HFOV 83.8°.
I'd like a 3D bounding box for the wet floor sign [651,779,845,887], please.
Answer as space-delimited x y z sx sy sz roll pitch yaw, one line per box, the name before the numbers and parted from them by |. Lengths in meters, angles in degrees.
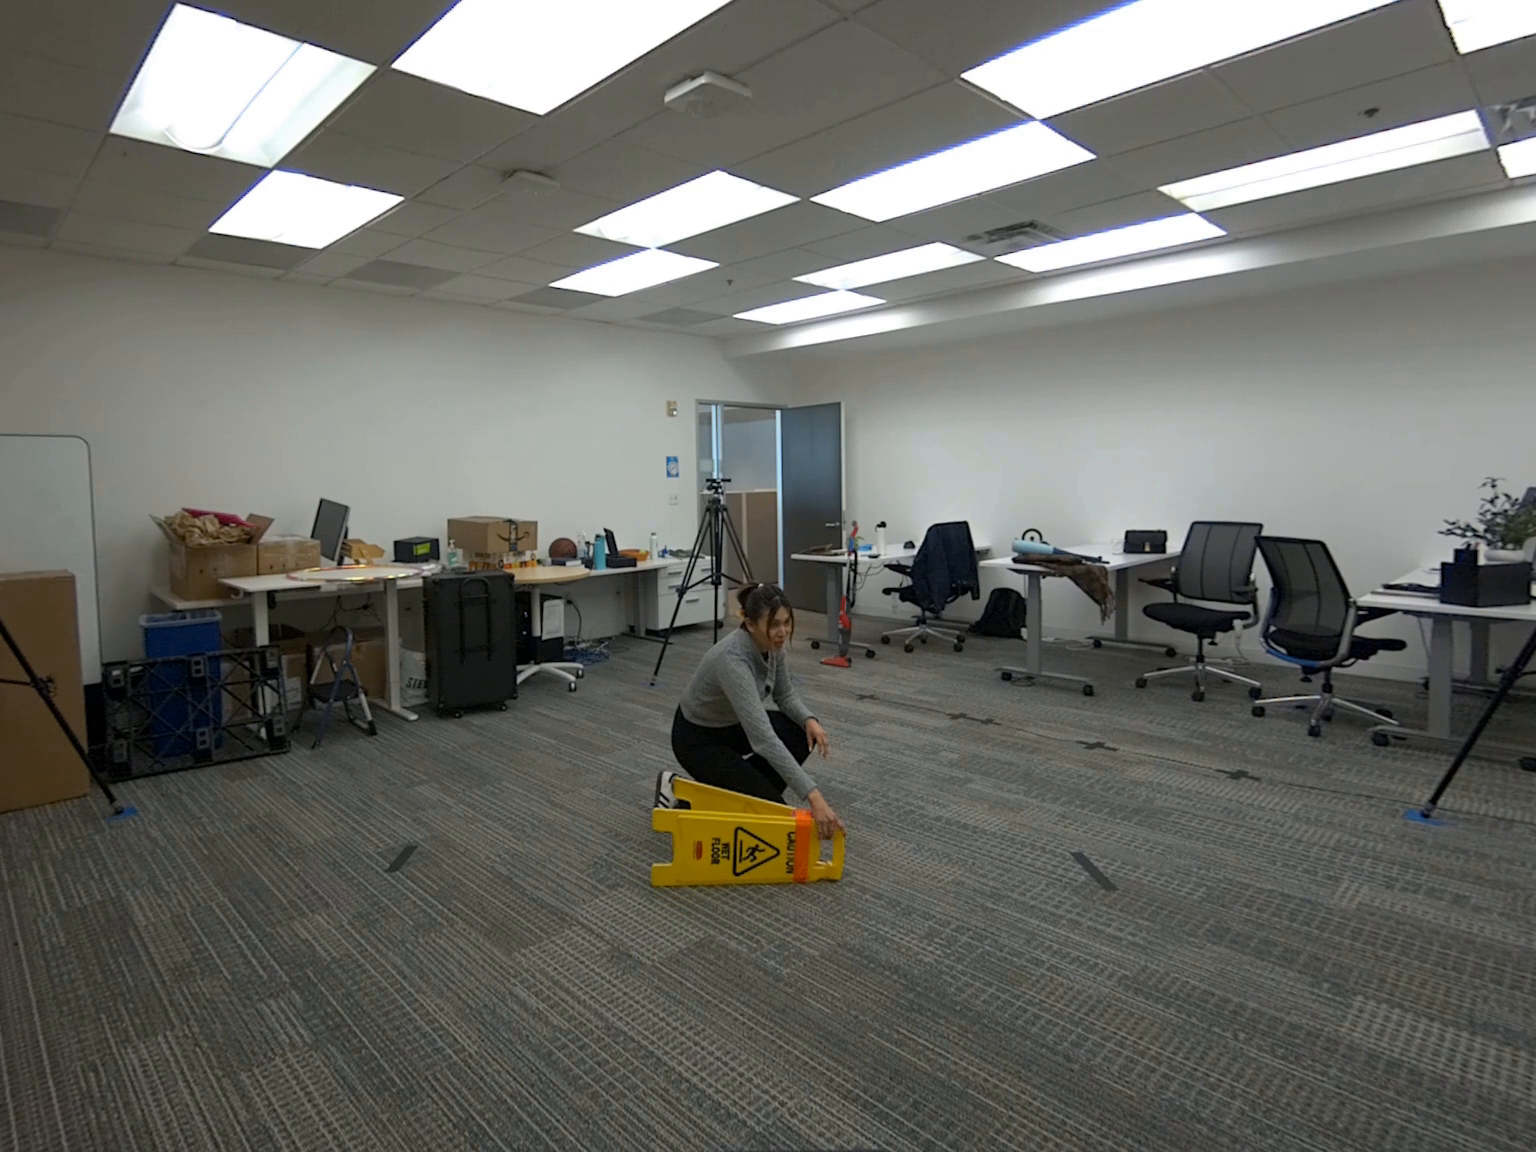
wet floor sign | -0.056 0.927 3.012 0.654 0.281 0.288 2 6 11
